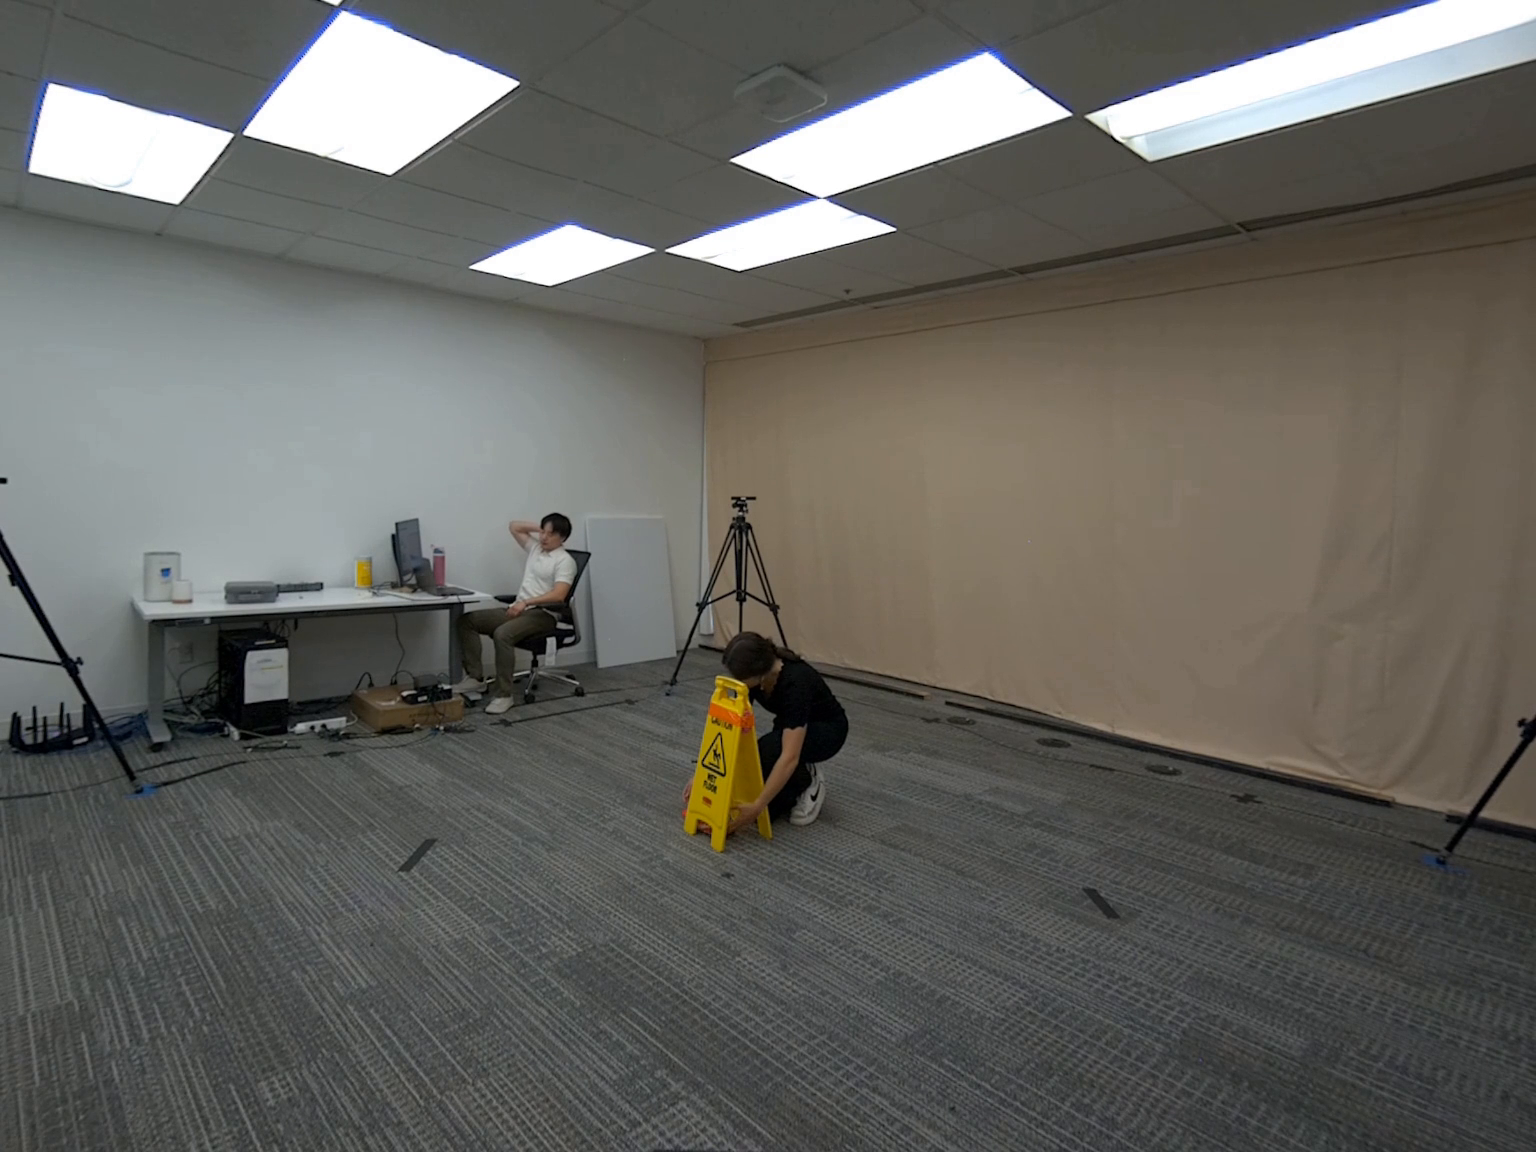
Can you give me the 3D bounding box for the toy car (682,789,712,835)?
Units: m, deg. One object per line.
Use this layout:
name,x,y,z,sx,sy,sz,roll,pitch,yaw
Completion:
toy car,-0.233,1.042,3.530,0.262,0.082,0.127,23,21,40
